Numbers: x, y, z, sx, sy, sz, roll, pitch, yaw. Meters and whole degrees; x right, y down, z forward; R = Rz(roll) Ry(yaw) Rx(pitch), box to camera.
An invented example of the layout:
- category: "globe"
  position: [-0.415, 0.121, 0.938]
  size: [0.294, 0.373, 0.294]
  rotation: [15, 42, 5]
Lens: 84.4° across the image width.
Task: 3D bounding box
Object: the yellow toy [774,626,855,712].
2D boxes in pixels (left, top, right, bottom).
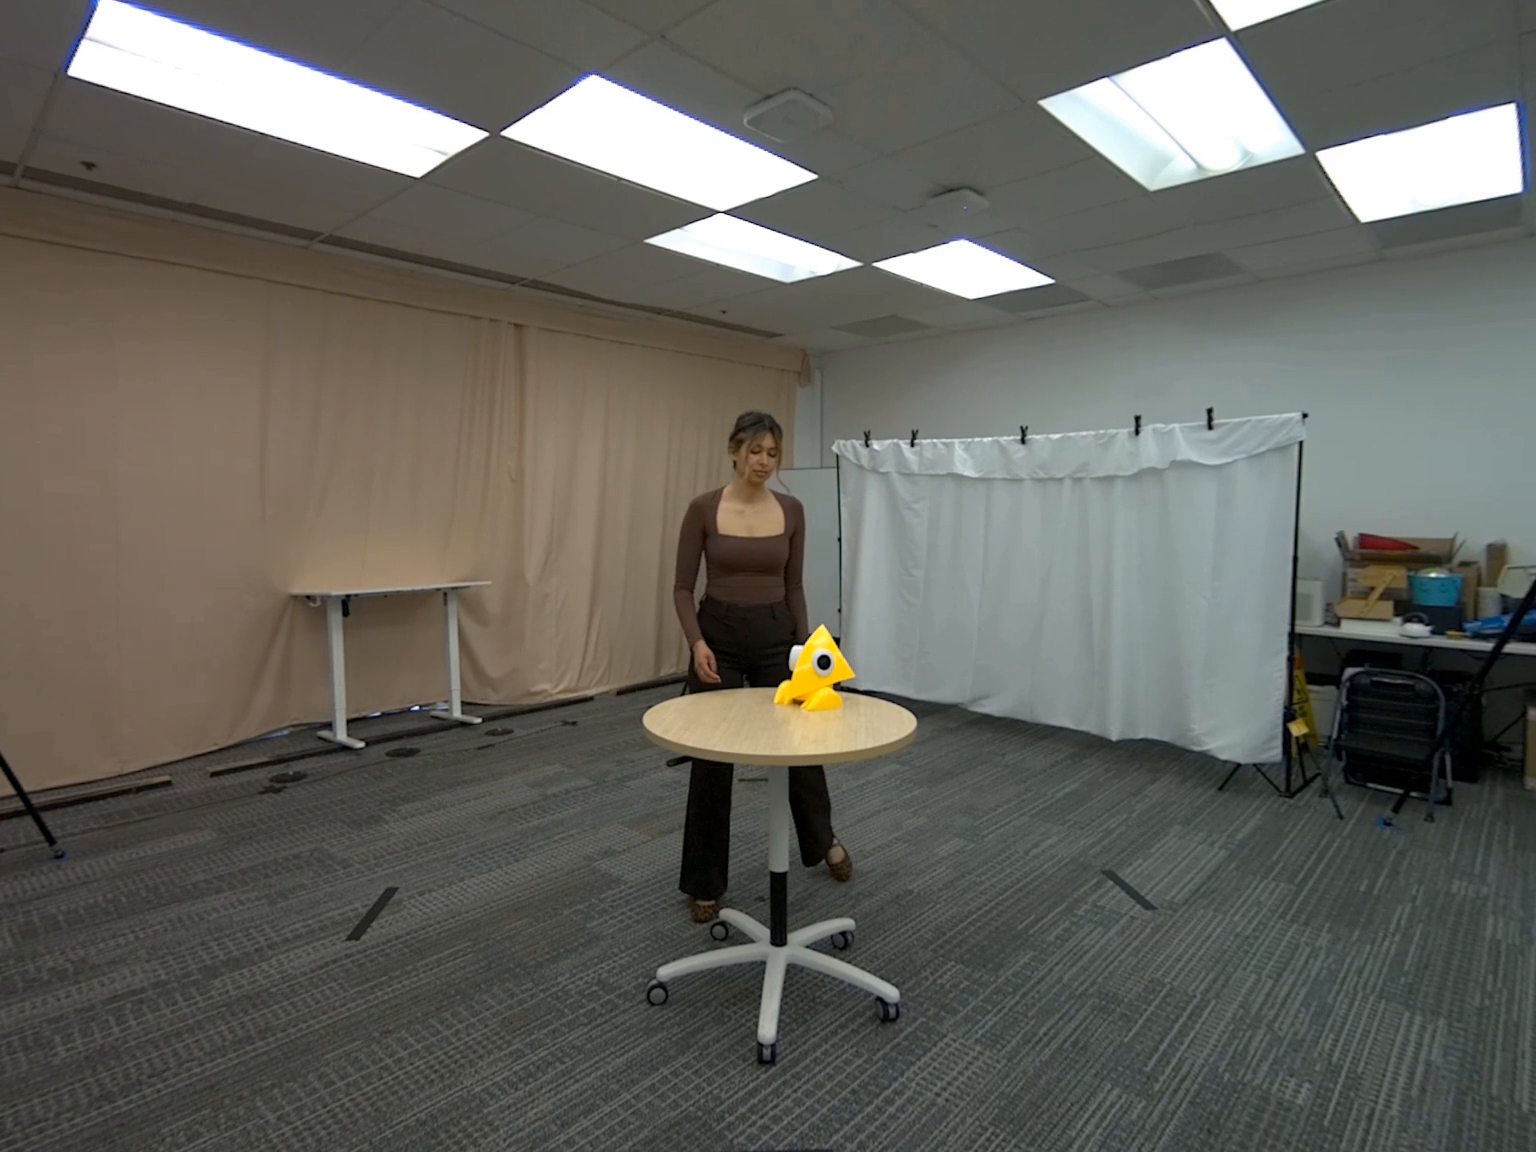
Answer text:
- category: "yellow toy"
  position: [0.132, 0.269, 2.551]
  size: [0.187, 0.230, 0.212]
  rotation: [-3, 5, -44]
